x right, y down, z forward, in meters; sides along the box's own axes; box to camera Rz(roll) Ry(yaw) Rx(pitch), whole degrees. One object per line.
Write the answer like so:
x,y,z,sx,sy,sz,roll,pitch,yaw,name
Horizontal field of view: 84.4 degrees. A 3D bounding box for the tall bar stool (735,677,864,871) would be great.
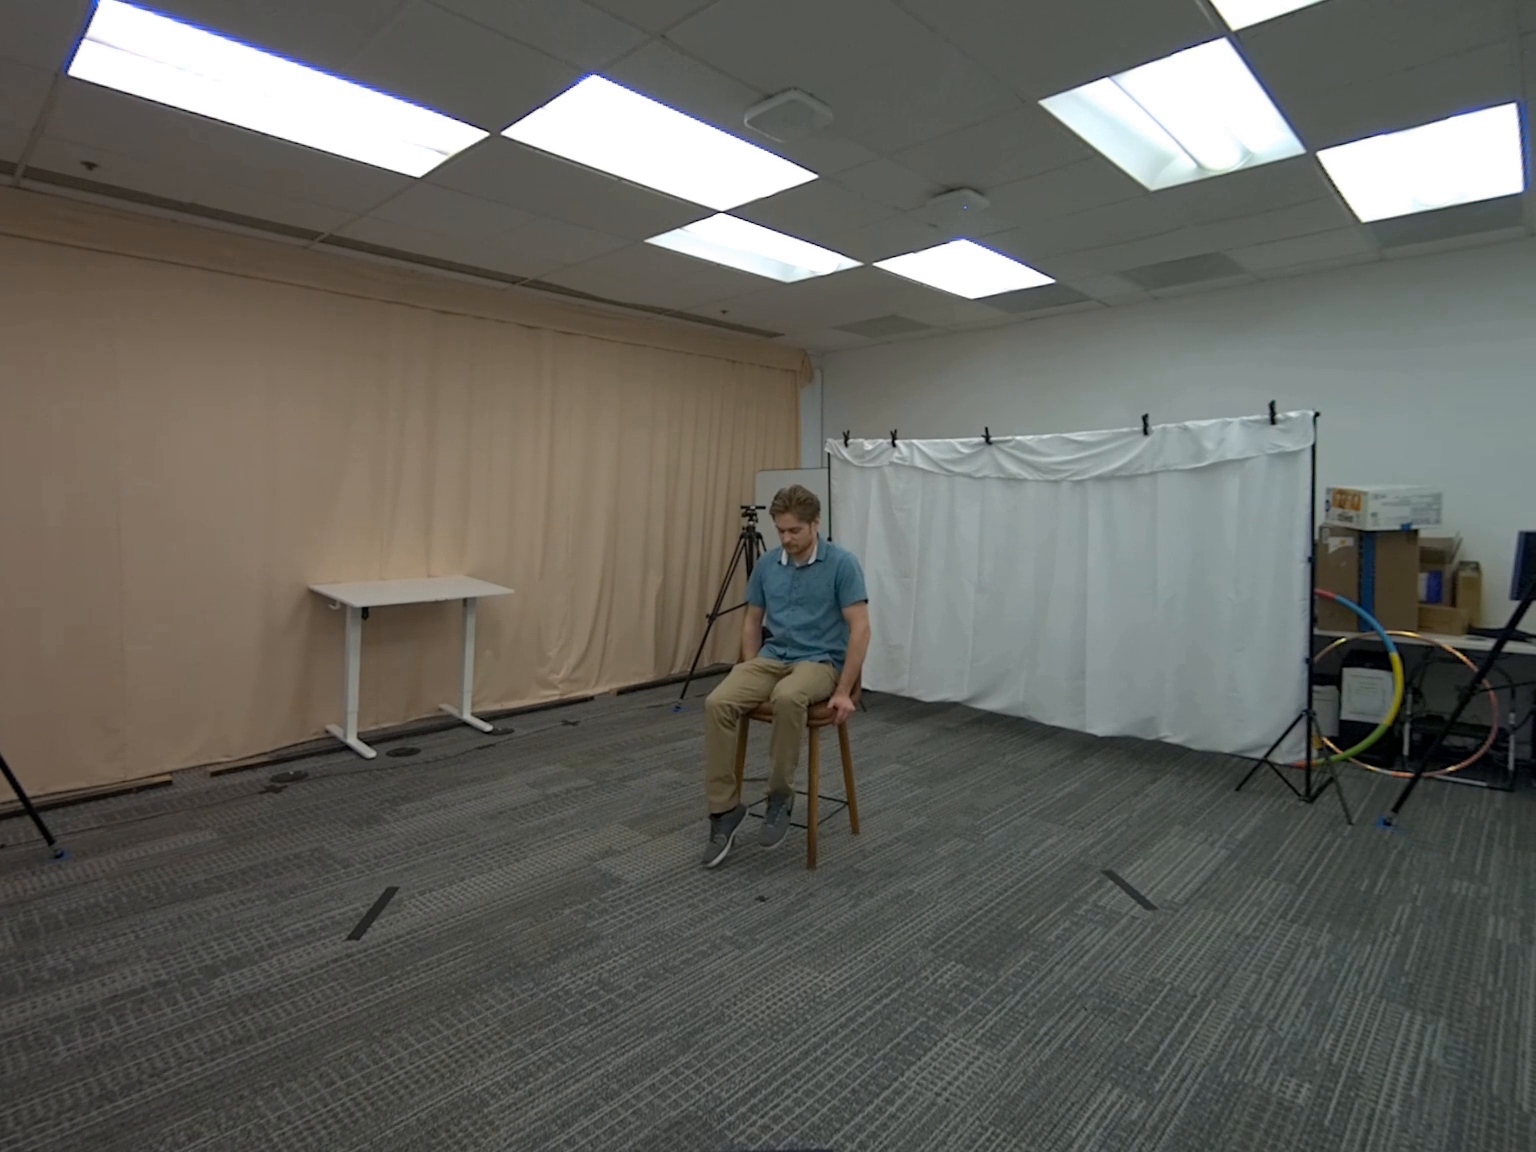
0.133,0.664,3.491,0.471,0.889,0.454,3,2,33,tall bar stool
